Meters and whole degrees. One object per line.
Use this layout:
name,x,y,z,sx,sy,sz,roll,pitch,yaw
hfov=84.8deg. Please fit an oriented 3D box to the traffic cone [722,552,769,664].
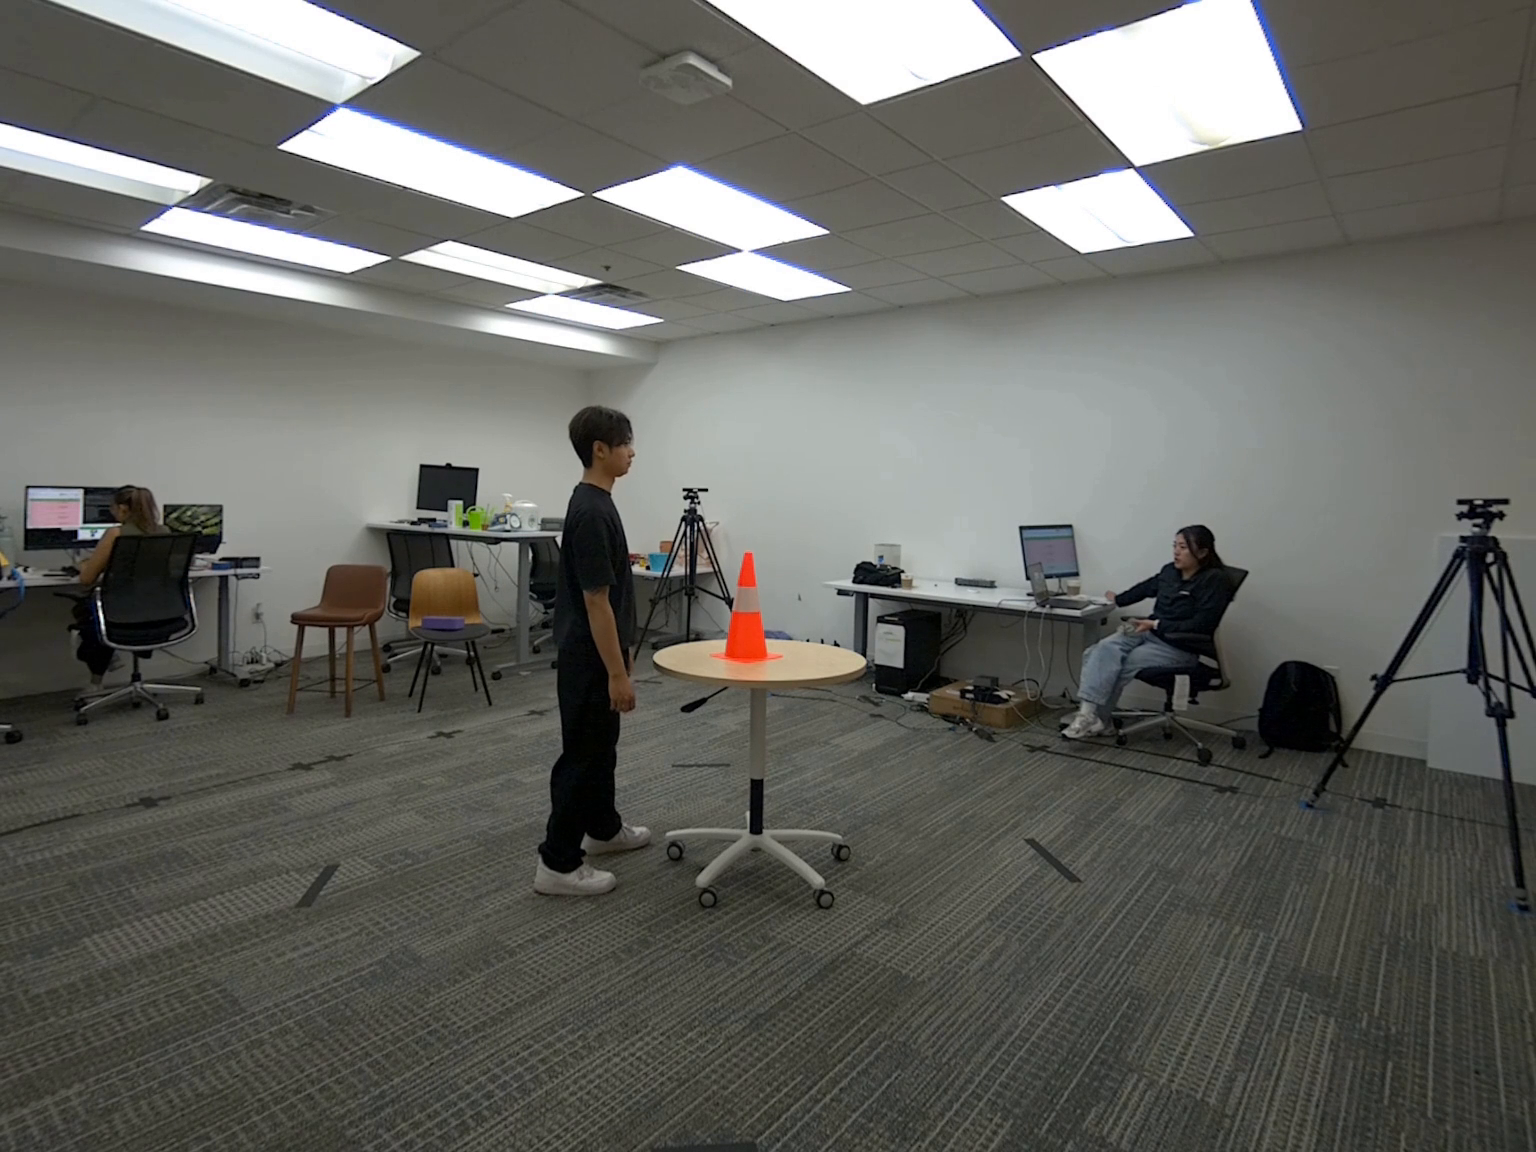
traffic cone,-0.087,0.107,3.082,0.212,0.382,0.197,5,6,40
